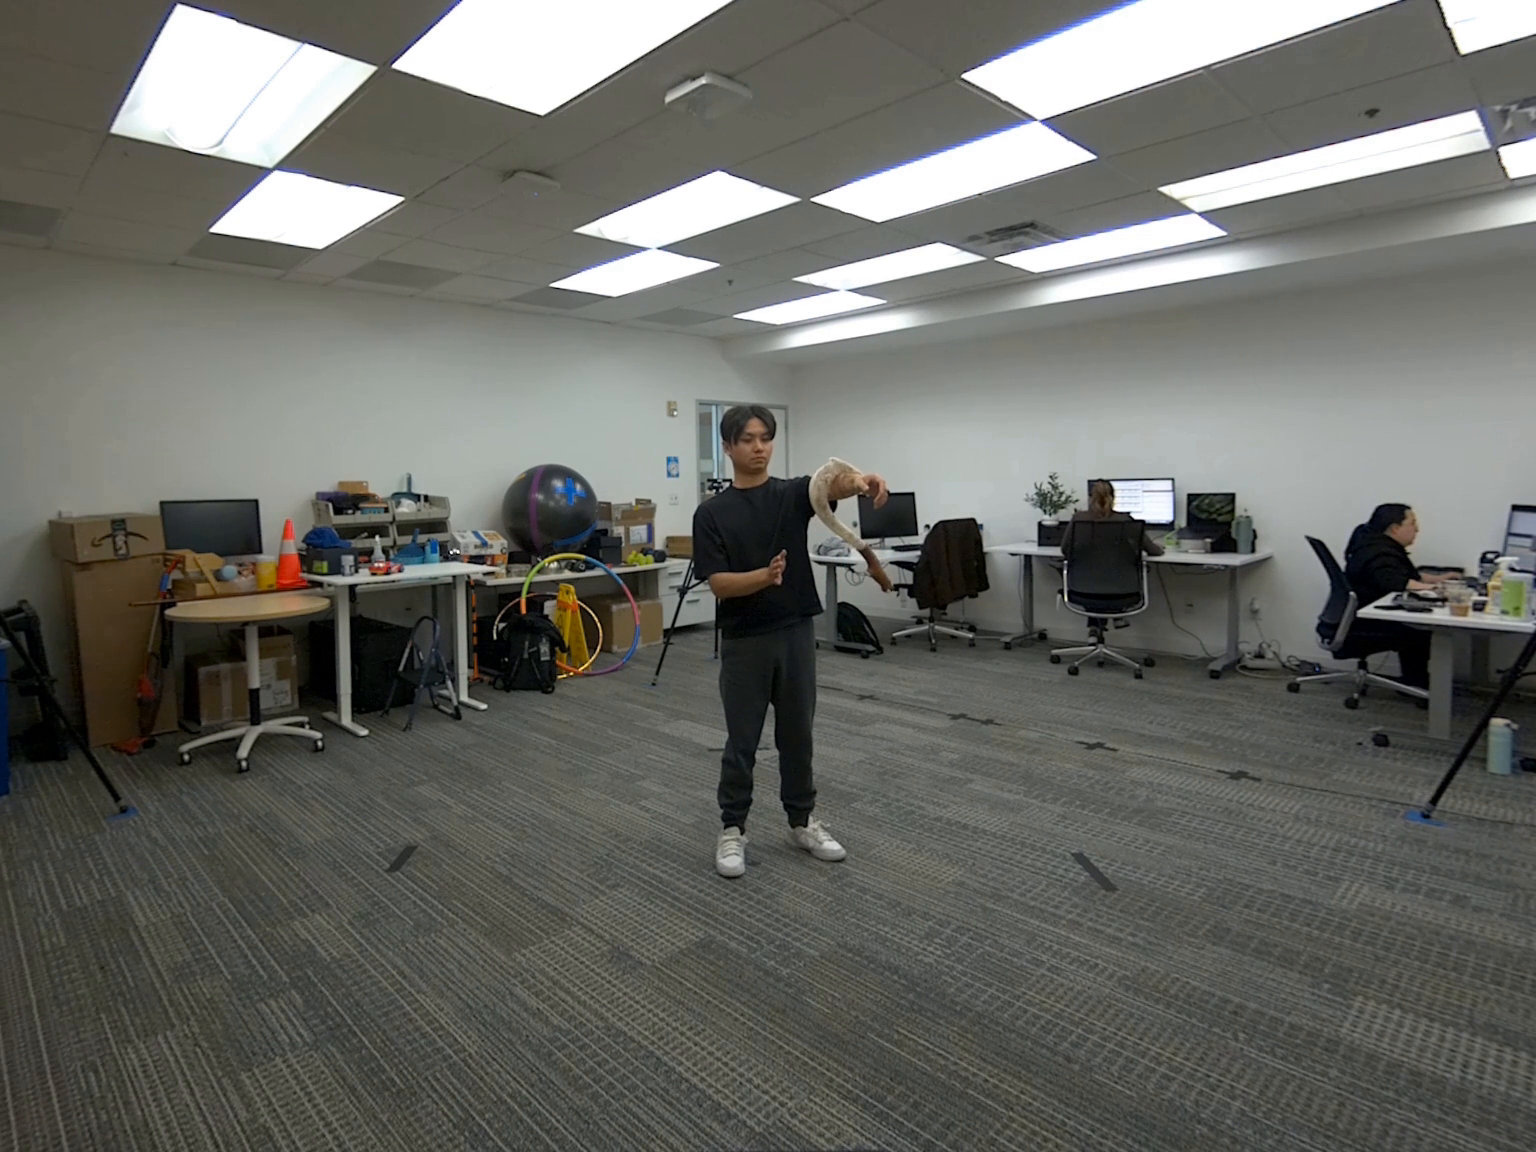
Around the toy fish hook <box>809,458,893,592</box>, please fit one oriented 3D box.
[{"bbox_3d":[0.308,-0.165,2.842,0.224,0.493,0.049,-42,22,-14],"label":"toy fish hook"}]
